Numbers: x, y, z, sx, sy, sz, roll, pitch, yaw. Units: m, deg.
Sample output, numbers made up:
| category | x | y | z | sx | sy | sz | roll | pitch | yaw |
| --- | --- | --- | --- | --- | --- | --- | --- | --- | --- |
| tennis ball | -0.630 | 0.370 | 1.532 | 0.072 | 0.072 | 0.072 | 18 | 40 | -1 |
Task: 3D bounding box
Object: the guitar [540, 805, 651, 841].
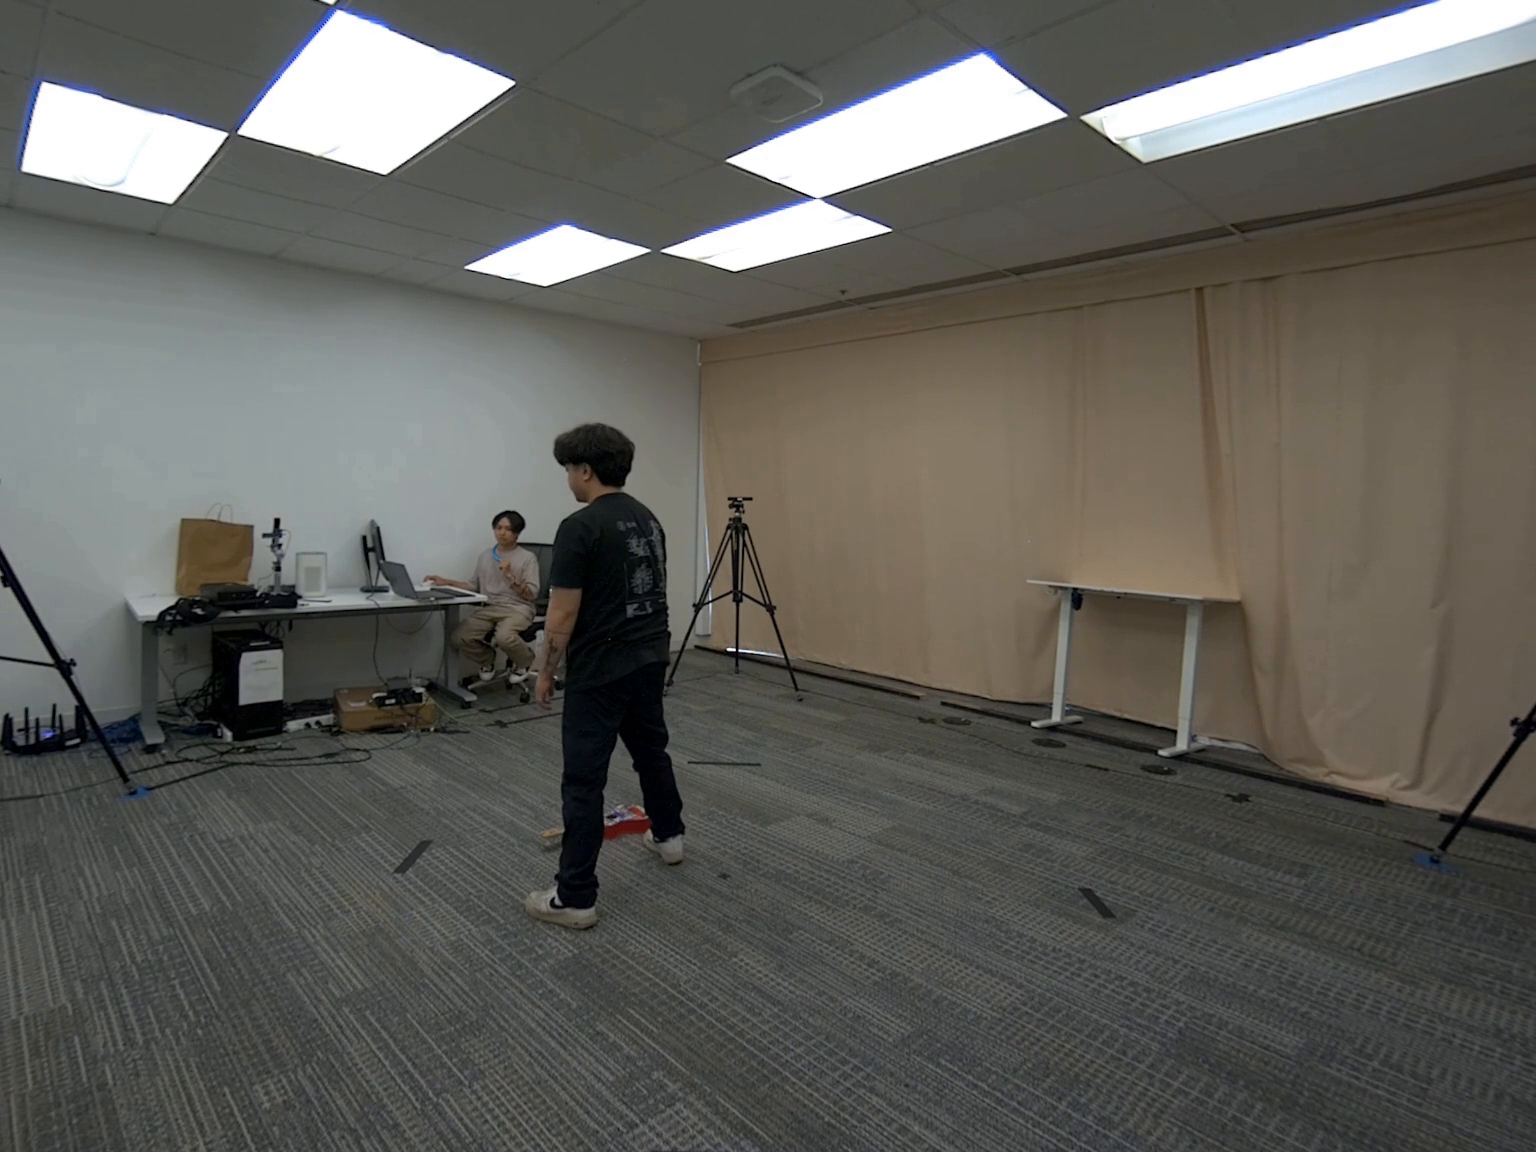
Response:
| category | x | y | z | sx | sy | sz | roll | pitch | yaw |
| --- | --- | --- | --- | --- | --- | --- | --- | --- | --- |
| guitar | -0.723 | 1.024 | 3.477 | 0.487 | 0.070 | 0.198 | -2 | 6 | -33 |
